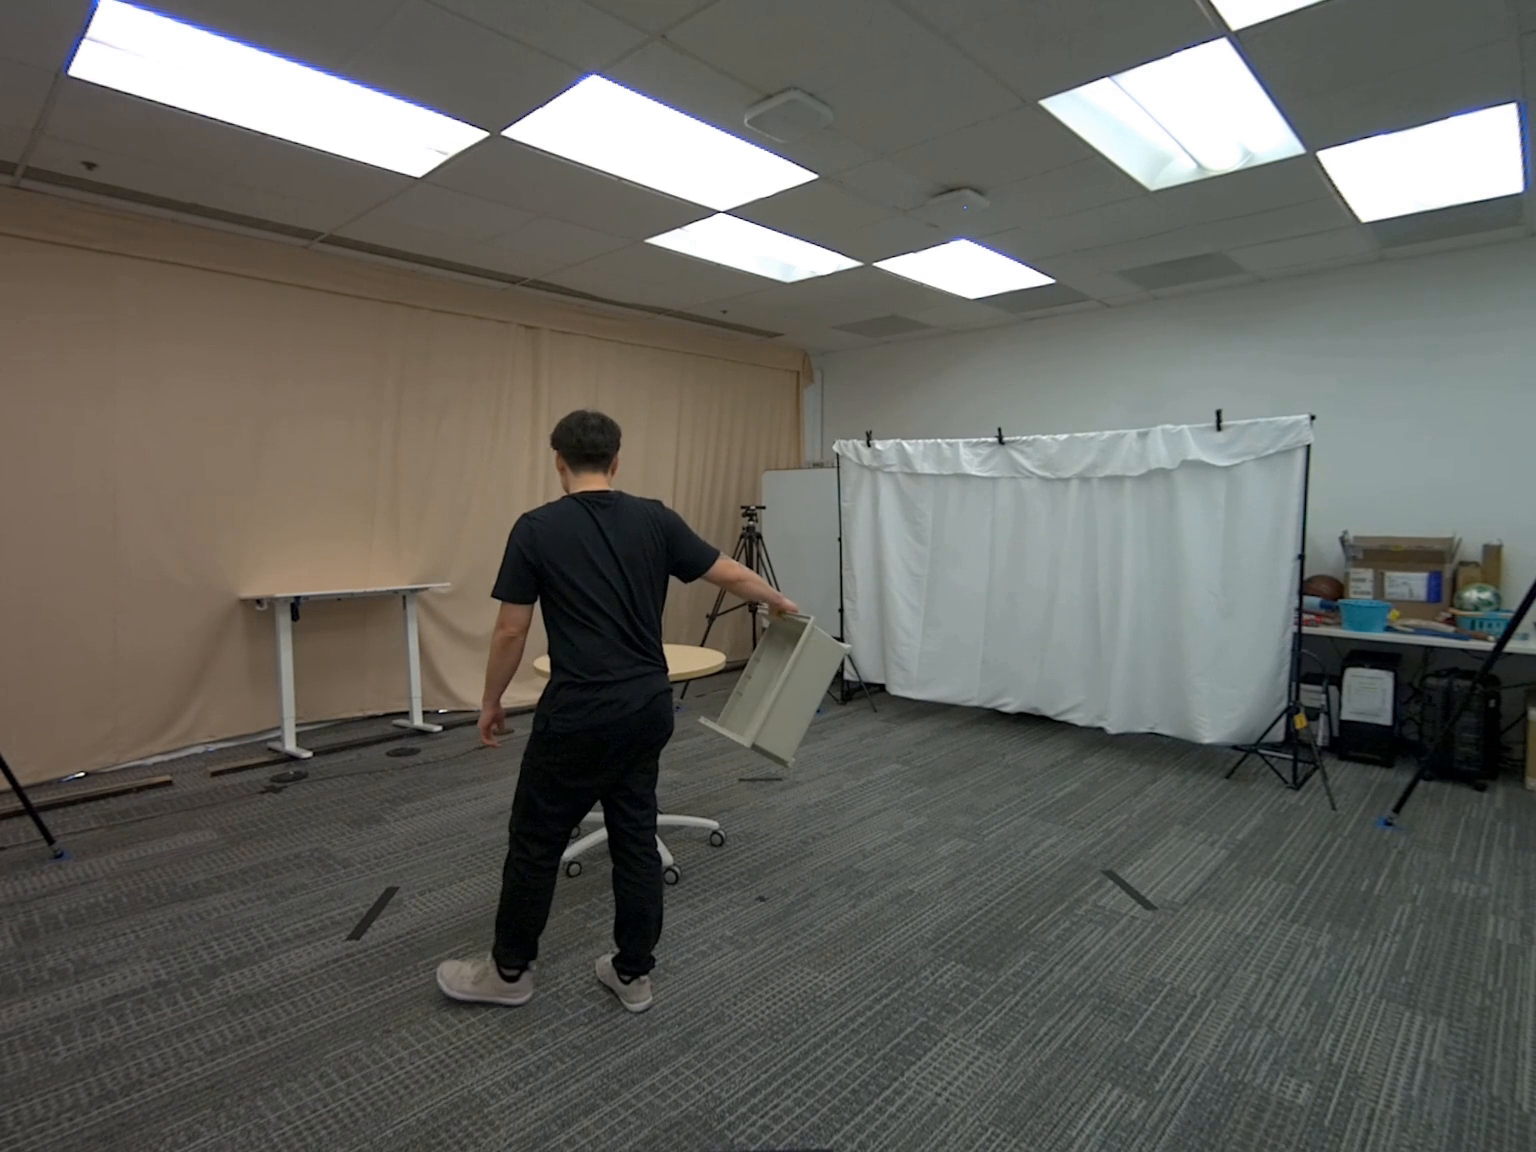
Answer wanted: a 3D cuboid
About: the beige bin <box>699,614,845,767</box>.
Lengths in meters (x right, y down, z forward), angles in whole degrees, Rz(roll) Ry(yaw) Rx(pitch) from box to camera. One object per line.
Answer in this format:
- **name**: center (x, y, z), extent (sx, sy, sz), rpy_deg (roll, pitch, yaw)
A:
- **beige bin**: center (0.005, 0.331, 2.628), extent (0.184, 0.422, 0.388), rpy_deg (35, -13, -26)
